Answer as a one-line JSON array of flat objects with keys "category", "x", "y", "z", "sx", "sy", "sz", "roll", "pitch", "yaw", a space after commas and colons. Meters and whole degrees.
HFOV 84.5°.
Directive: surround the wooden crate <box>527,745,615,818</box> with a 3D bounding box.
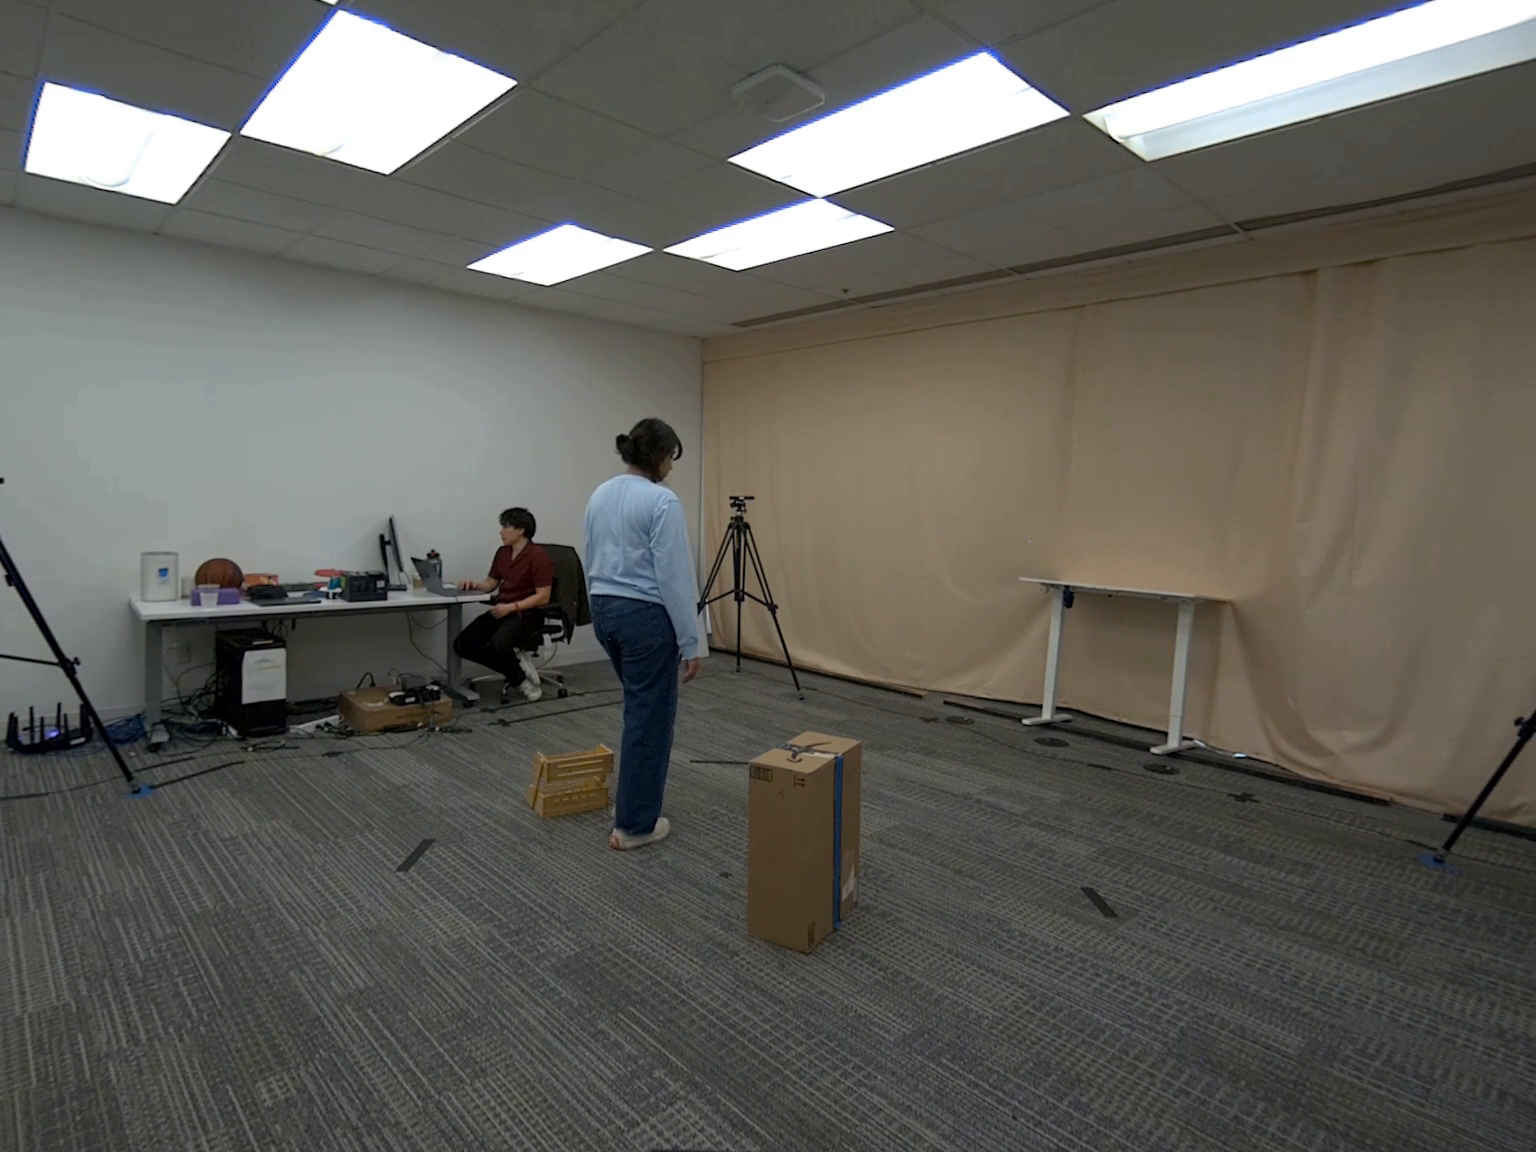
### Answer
[{"category": "wooden crate", "x": -0.903, "y": 0.898, "z": 3.773, "sx": 0.318, "sy": 0.272, "sz": 0.309, "roll": -1, "pitch": 5, "yaw": -32}]
